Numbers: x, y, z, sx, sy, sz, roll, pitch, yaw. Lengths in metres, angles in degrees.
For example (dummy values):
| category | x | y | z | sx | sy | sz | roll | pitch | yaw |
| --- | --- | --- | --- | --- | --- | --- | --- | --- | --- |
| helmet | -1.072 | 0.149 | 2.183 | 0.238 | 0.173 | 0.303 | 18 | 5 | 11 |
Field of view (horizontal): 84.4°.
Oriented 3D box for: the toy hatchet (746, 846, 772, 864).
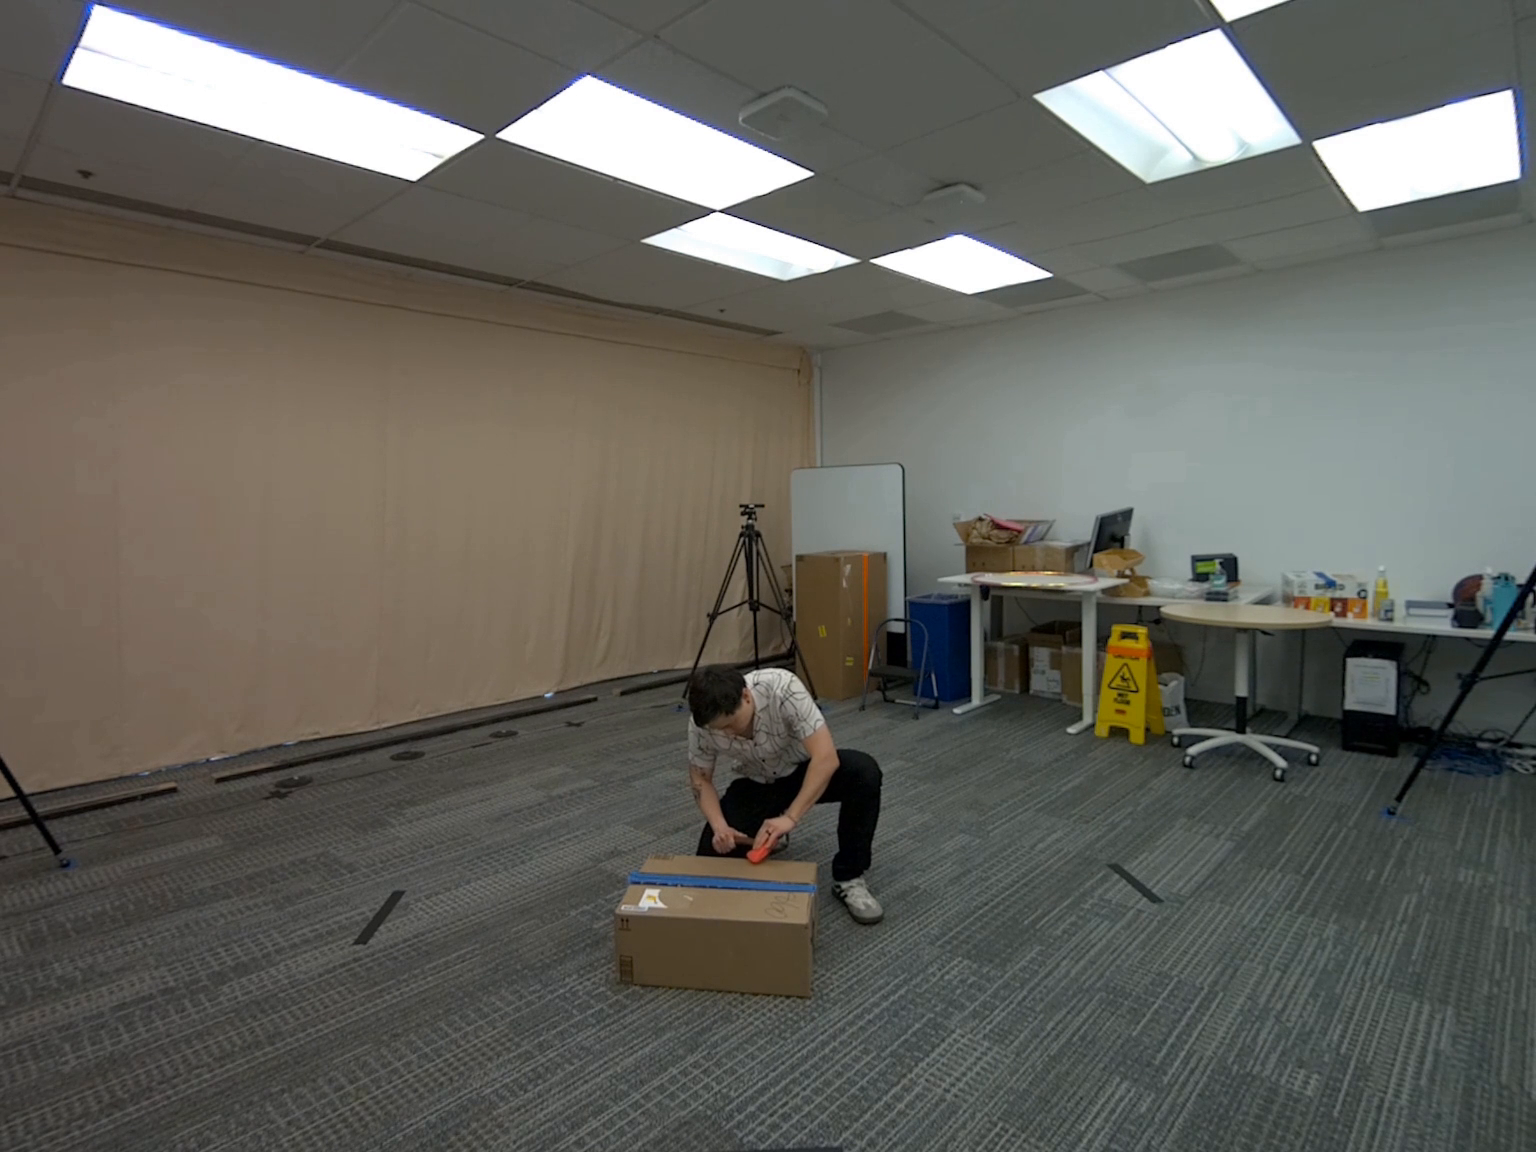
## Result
| category | x | y | z | sx | sy | sz | roll | pitch | yaw |
| --- | --- | --- | --- | --- | --- | --- | --- | --- | --- |
| toy hatchet | -0.091 | 0.922 | 2.852 | 0.277 | 0.029 | 0.129 | -9 | 21 | 34 |
